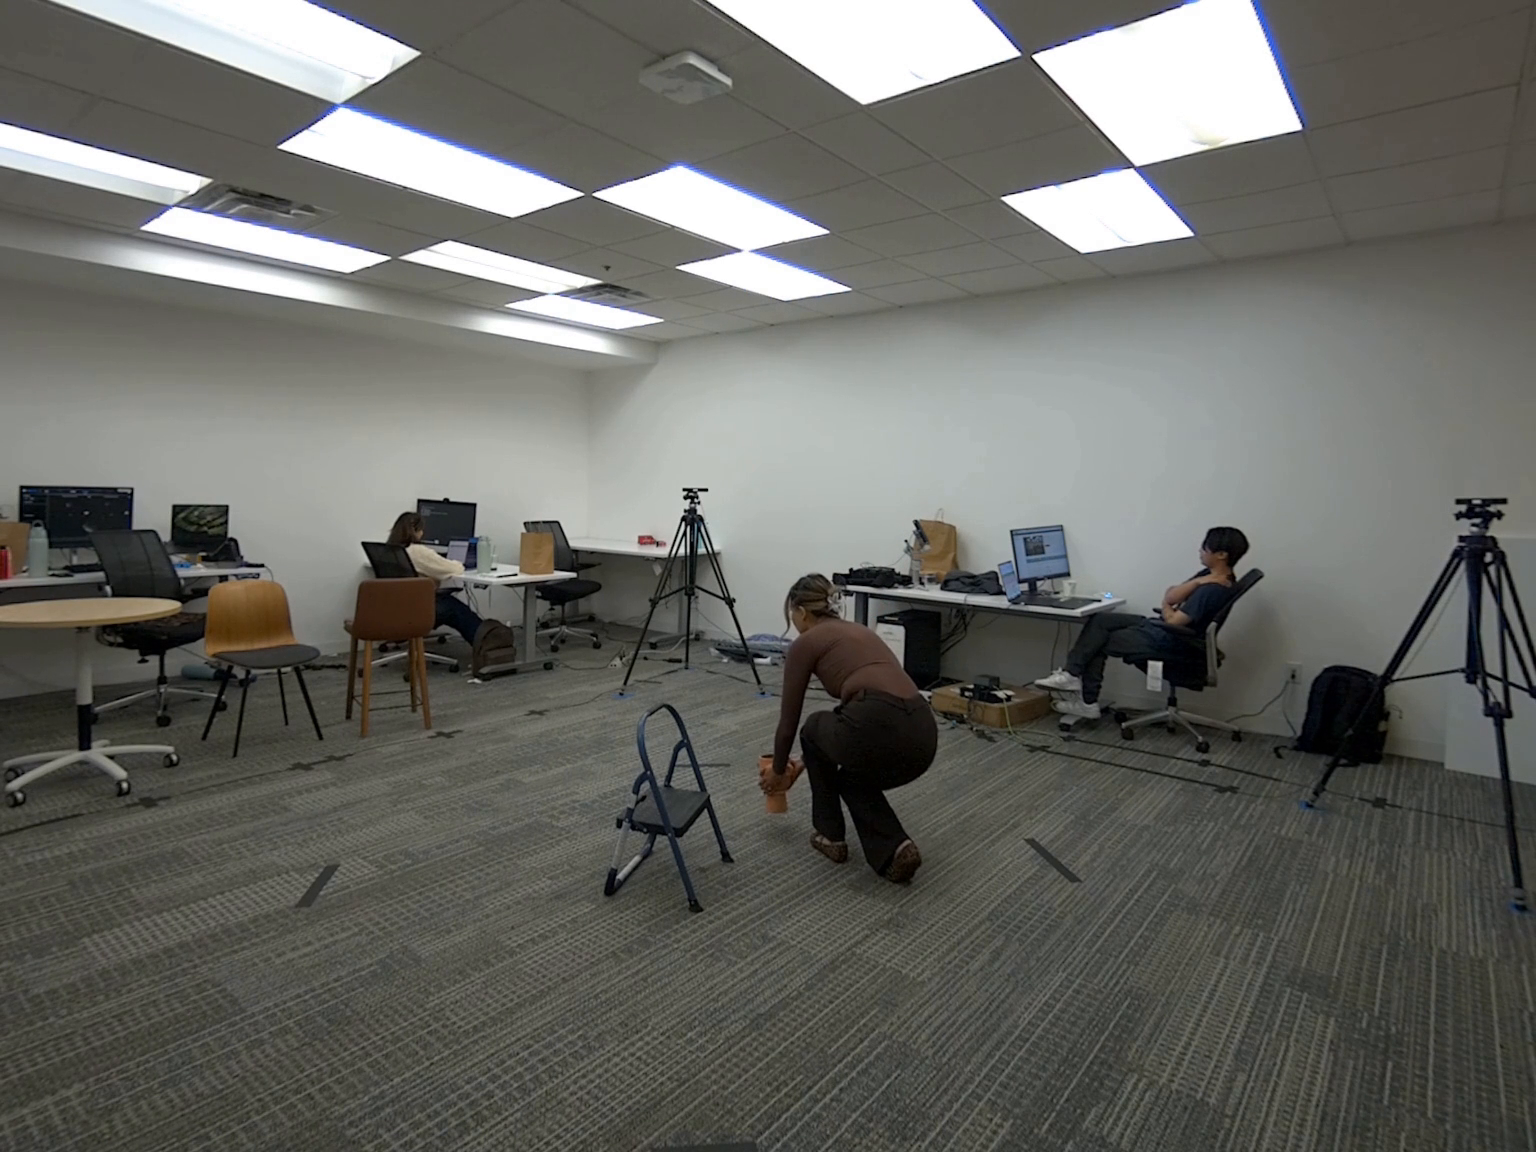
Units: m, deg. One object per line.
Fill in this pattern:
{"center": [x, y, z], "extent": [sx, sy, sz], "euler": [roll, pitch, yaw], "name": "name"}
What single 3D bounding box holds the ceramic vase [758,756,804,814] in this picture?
{"center": [0.023, 0.852, 3.528], "extent": [0.133, 0.220, 0.160], "euler": [-1, -3, -15], "name": "ceramic vase"}
